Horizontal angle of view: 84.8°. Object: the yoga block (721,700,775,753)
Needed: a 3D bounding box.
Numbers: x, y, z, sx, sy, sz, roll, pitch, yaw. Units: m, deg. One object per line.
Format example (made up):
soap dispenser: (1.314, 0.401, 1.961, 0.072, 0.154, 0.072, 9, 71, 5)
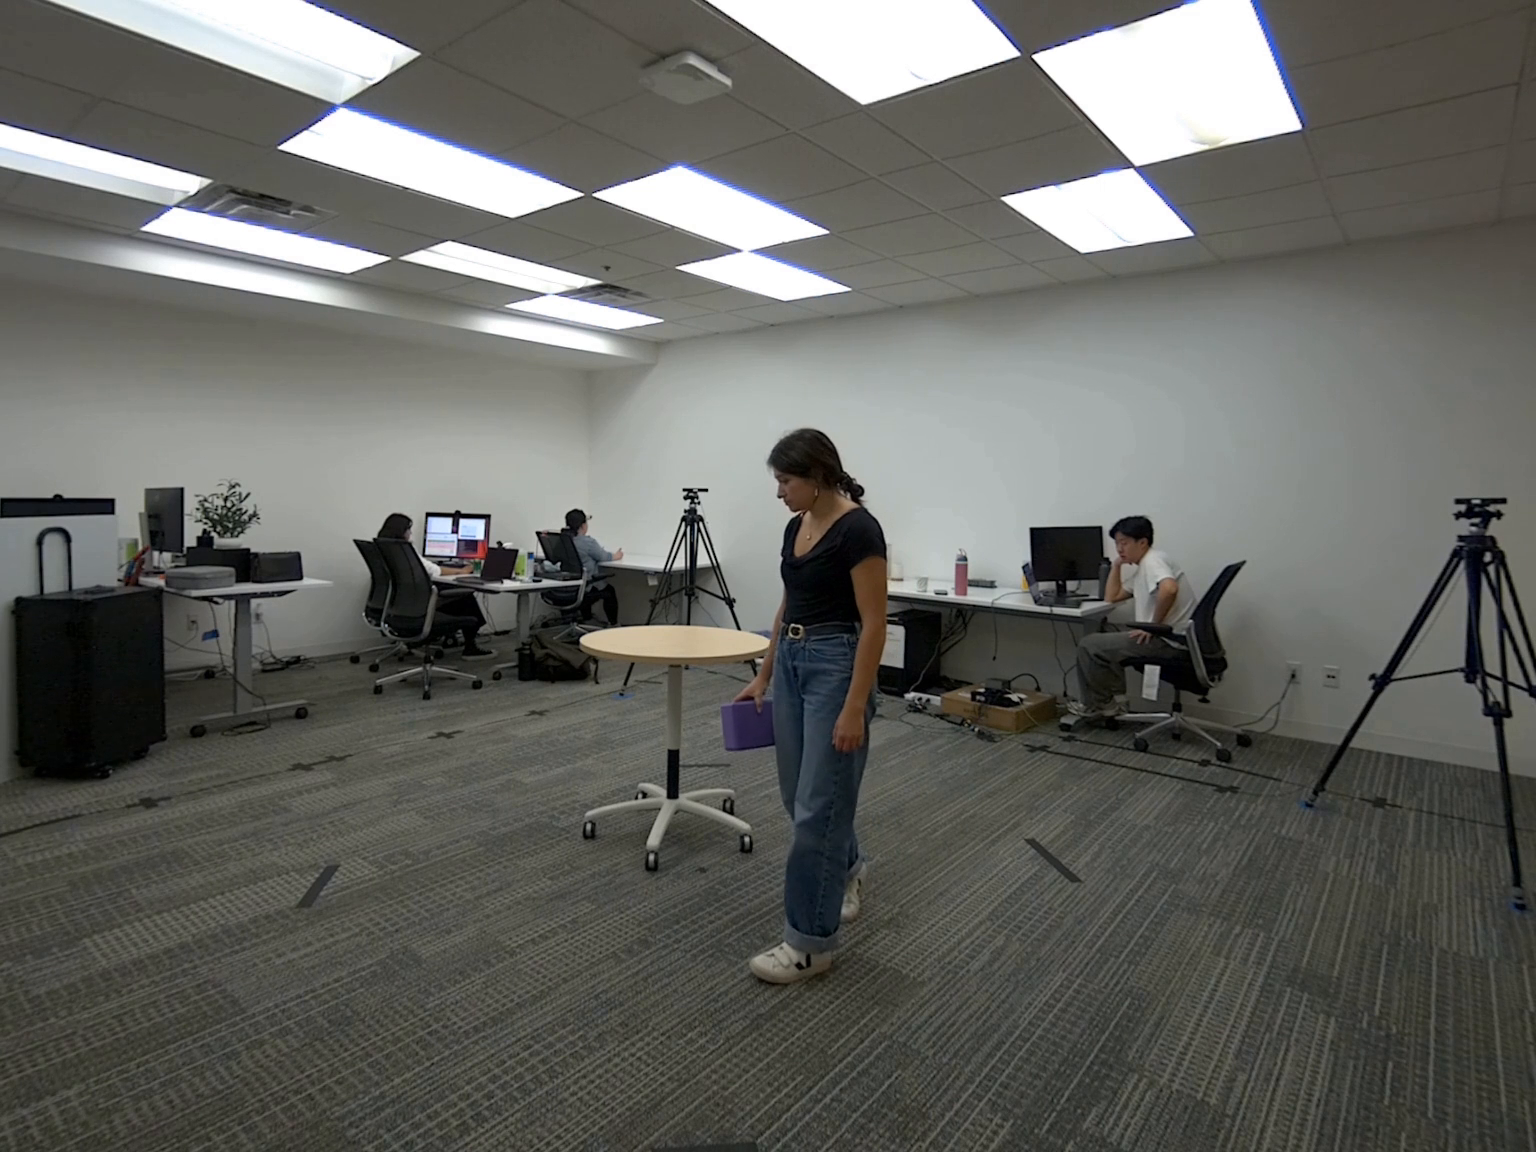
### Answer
yoga block: (-0.039, 0.472, 2.754, 0.222, 0.150, 0.078, 0, -10, -35)
